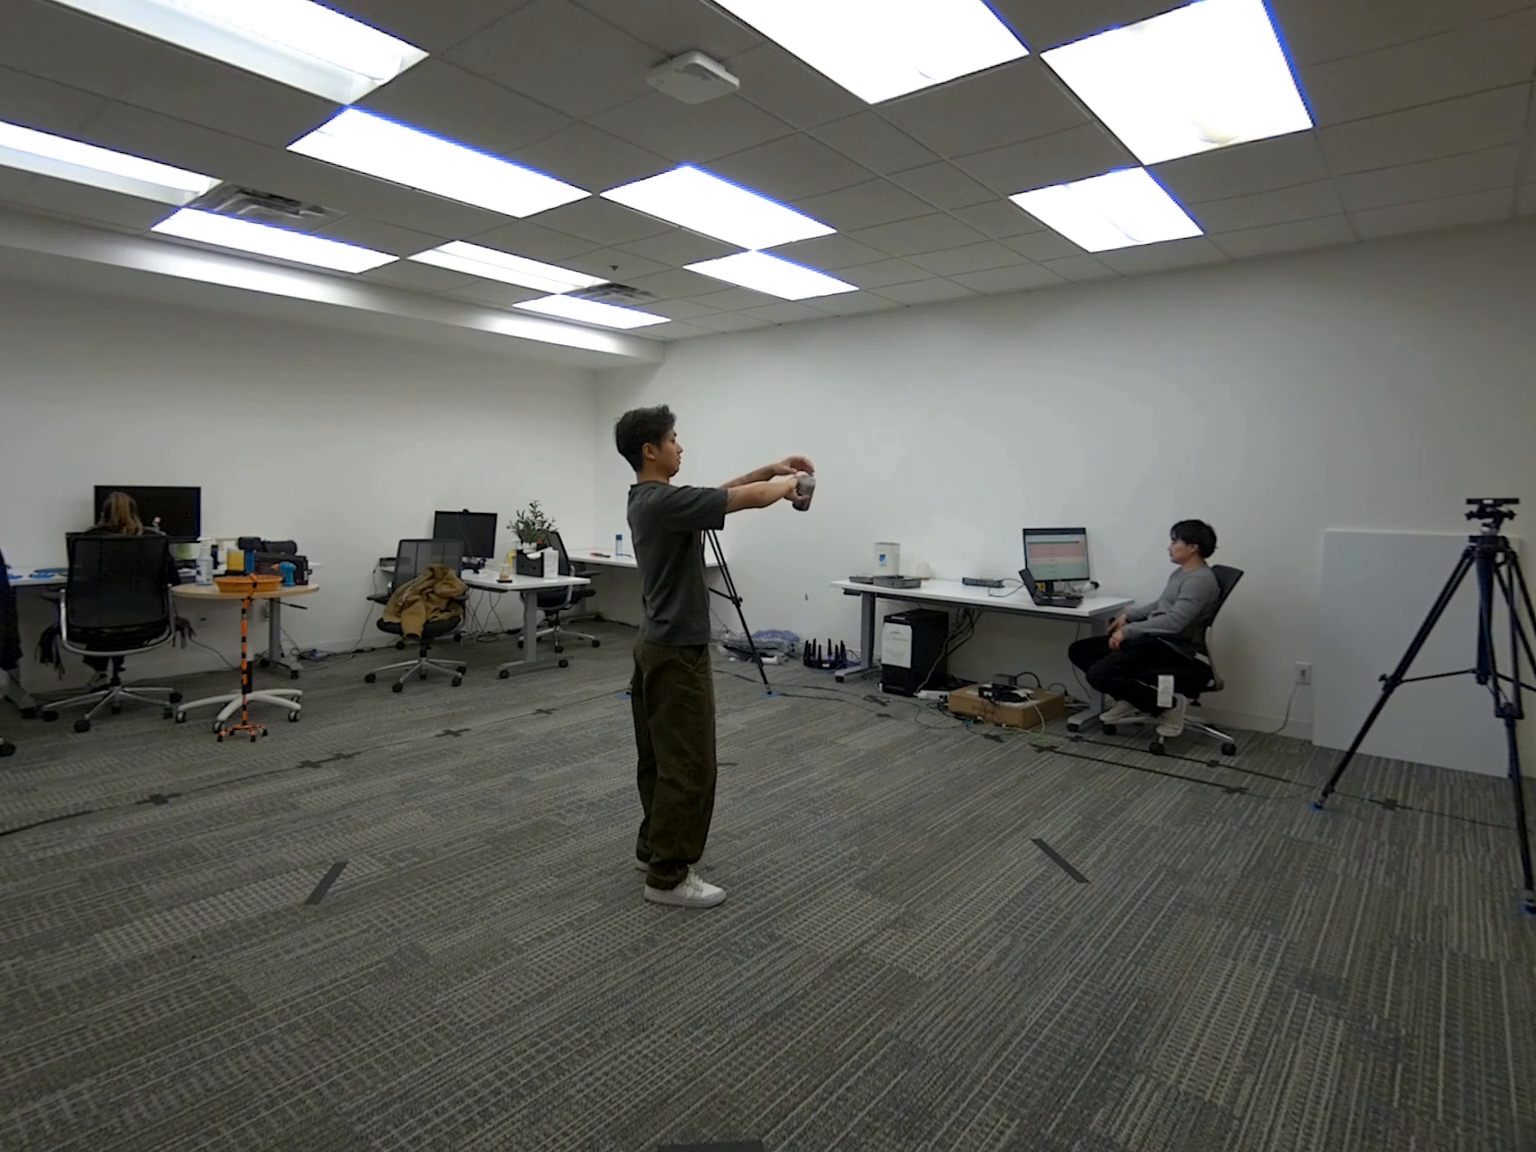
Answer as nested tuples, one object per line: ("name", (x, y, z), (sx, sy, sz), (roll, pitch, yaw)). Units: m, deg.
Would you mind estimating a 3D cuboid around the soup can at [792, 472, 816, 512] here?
("soup can", (0.124, -0.301, 3.079), (0.067, 0.119, 0.069), (6, 33, -6))
